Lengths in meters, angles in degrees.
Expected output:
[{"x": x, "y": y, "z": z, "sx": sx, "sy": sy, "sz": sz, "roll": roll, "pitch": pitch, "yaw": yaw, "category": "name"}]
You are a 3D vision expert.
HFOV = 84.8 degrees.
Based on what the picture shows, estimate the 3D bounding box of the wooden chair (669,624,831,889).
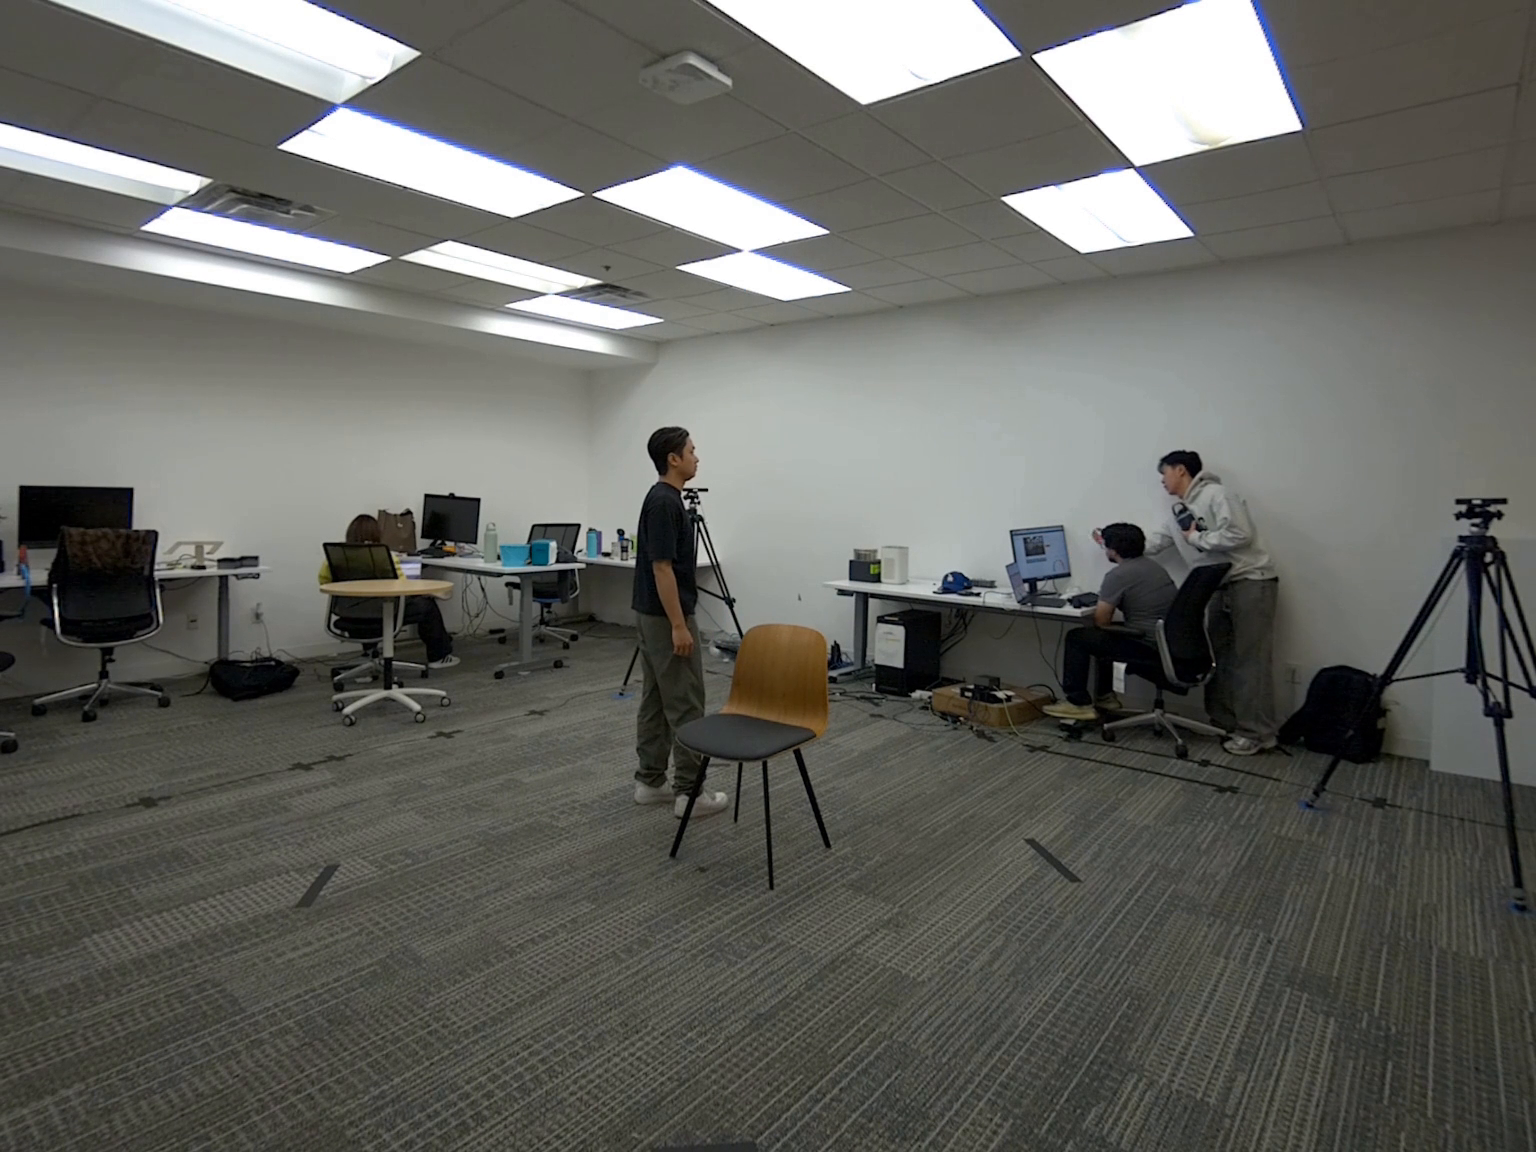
[{"x": -0.062, "y": 0.633, "z": 3.230, "sx": 0.493, "sy": 0.878, "sz": 0.507, "roll": 3, "pitch": 0, "yaw": 32, "category": "wooden chair"}]
